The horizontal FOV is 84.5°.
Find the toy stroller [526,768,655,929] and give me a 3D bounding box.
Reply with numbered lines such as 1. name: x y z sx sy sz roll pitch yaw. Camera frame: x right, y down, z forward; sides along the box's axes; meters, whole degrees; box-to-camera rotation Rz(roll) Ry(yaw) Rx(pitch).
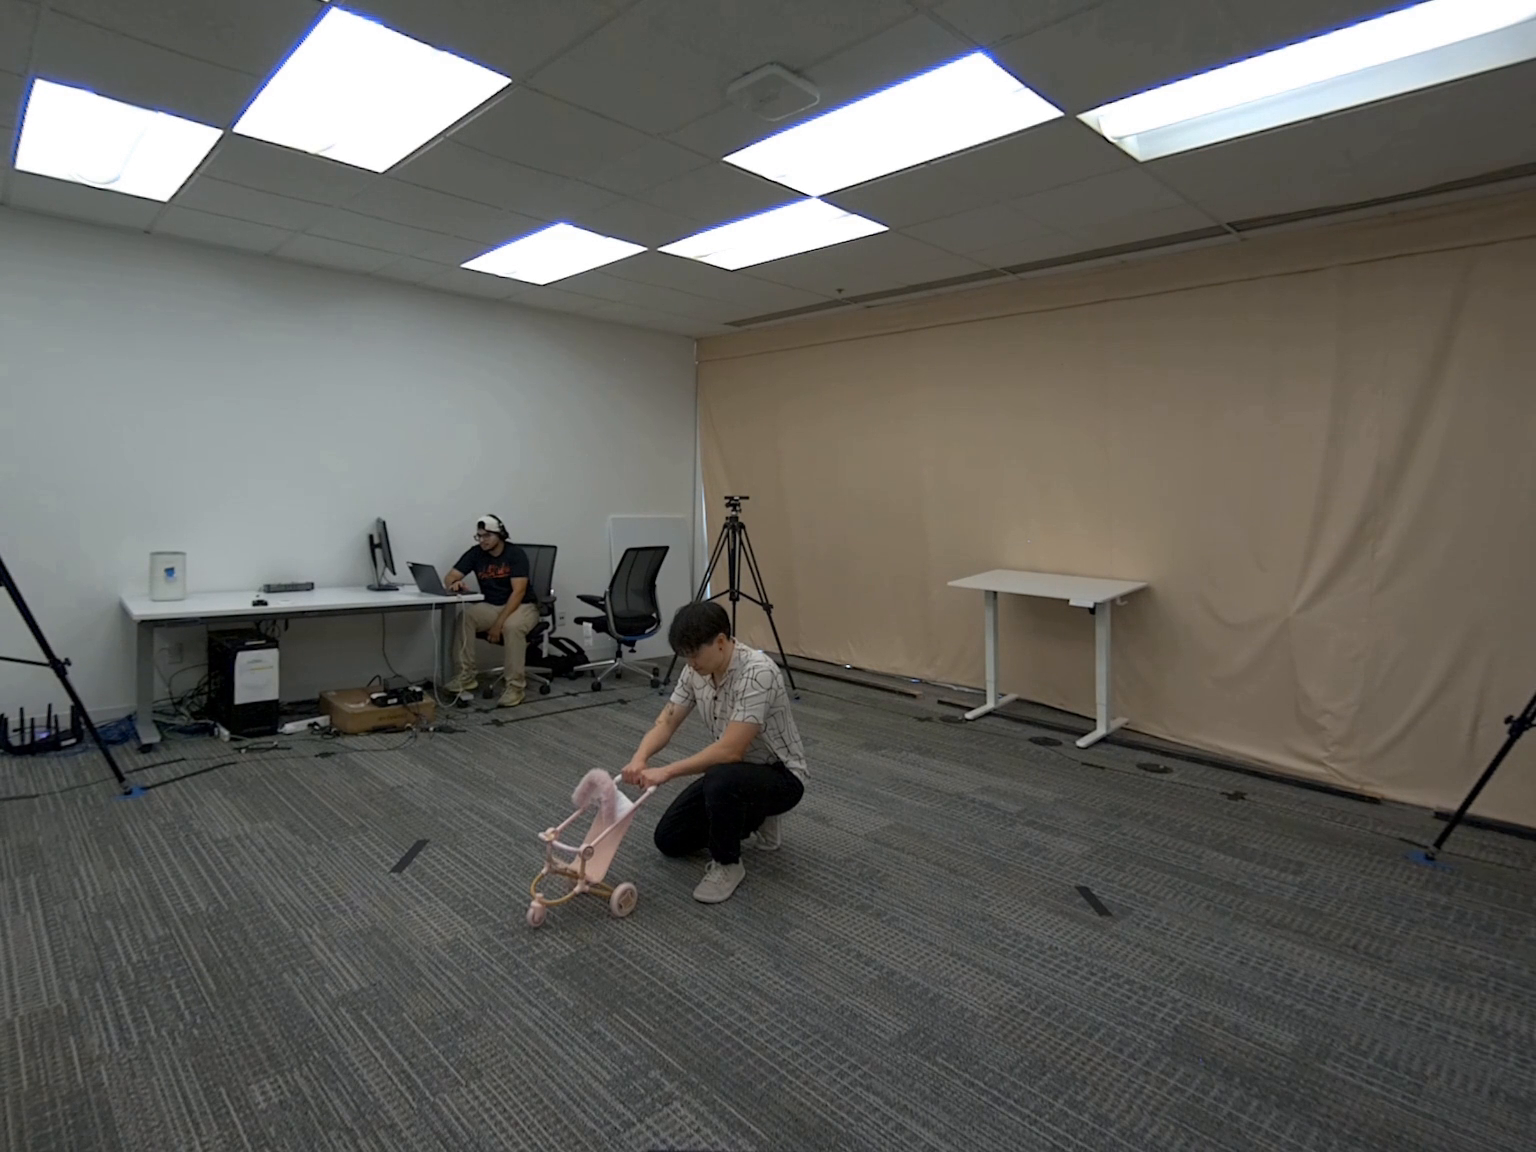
1. toy stroller: -0.606 0.896 2.824 0.331 0.538 0.288 25 -15 -41
